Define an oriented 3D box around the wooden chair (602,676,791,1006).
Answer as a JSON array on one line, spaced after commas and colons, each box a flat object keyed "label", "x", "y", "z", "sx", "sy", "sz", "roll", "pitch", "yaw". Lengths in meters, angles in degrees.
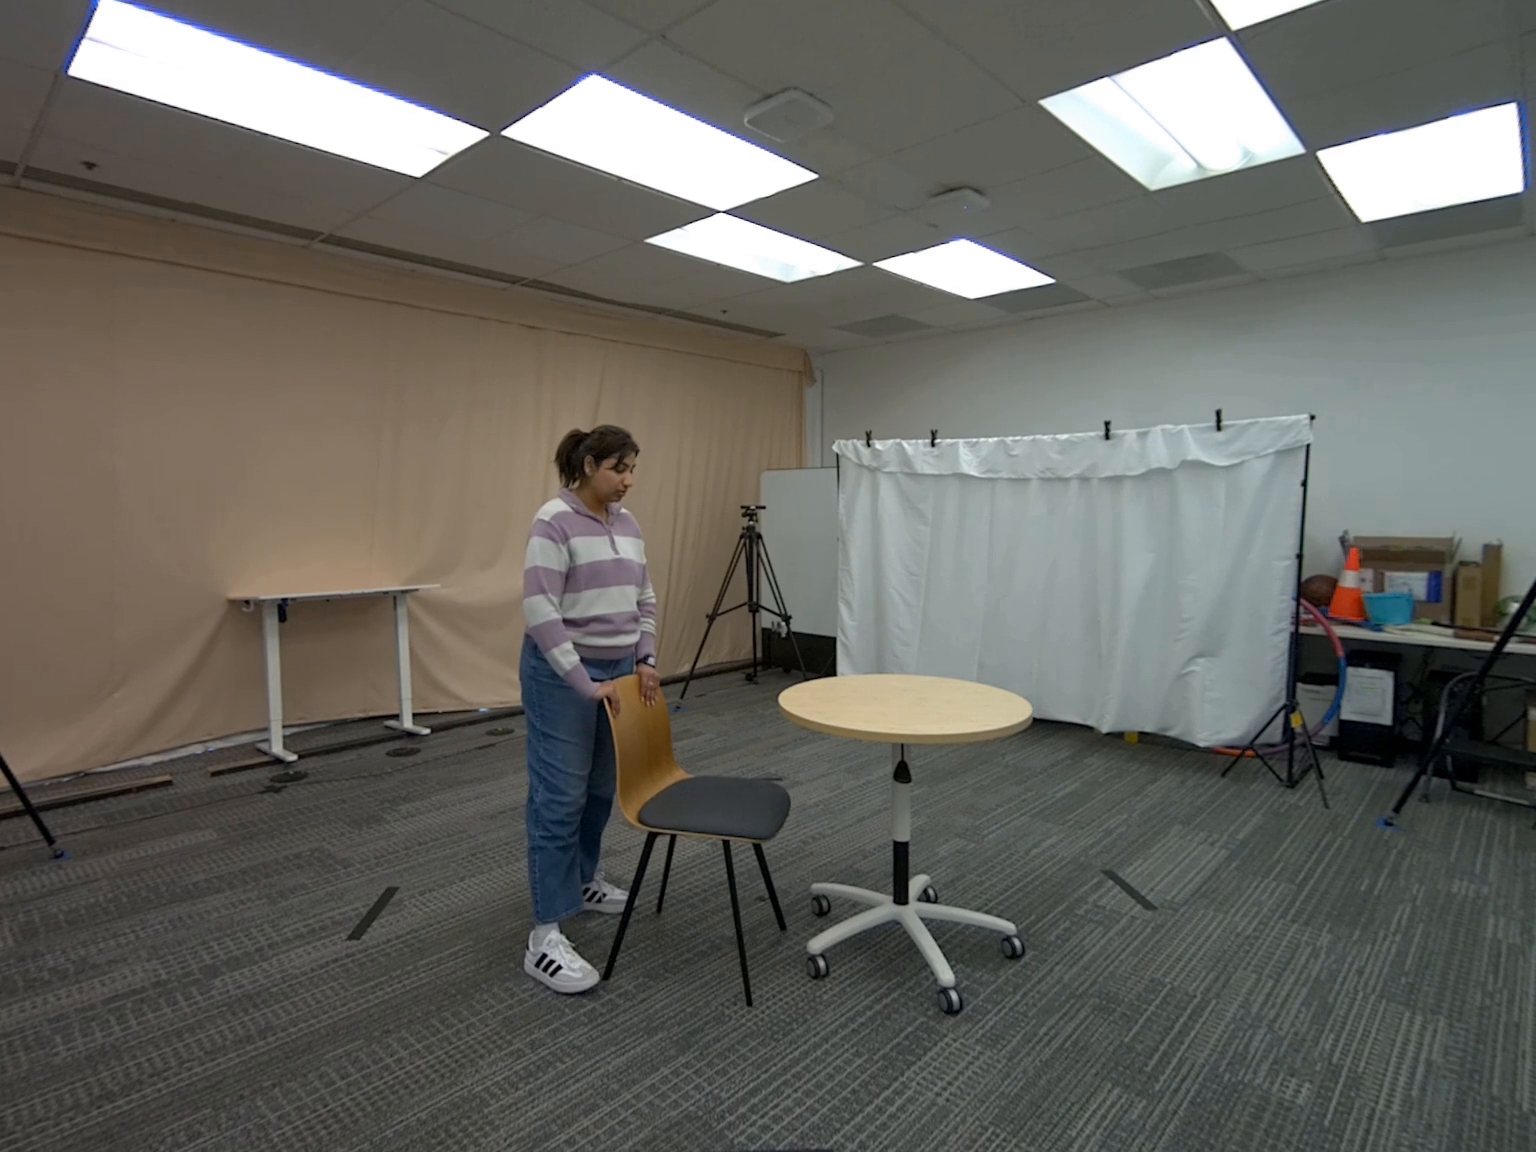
[{"label": "wooden chair", "x": -0.201, "y": 0.753, "z": 2.586, "sx": 0.532, "sy": 0.876, "sz": 0.470, "roll": -4, "pitch": 2, "yaw": 17}]
